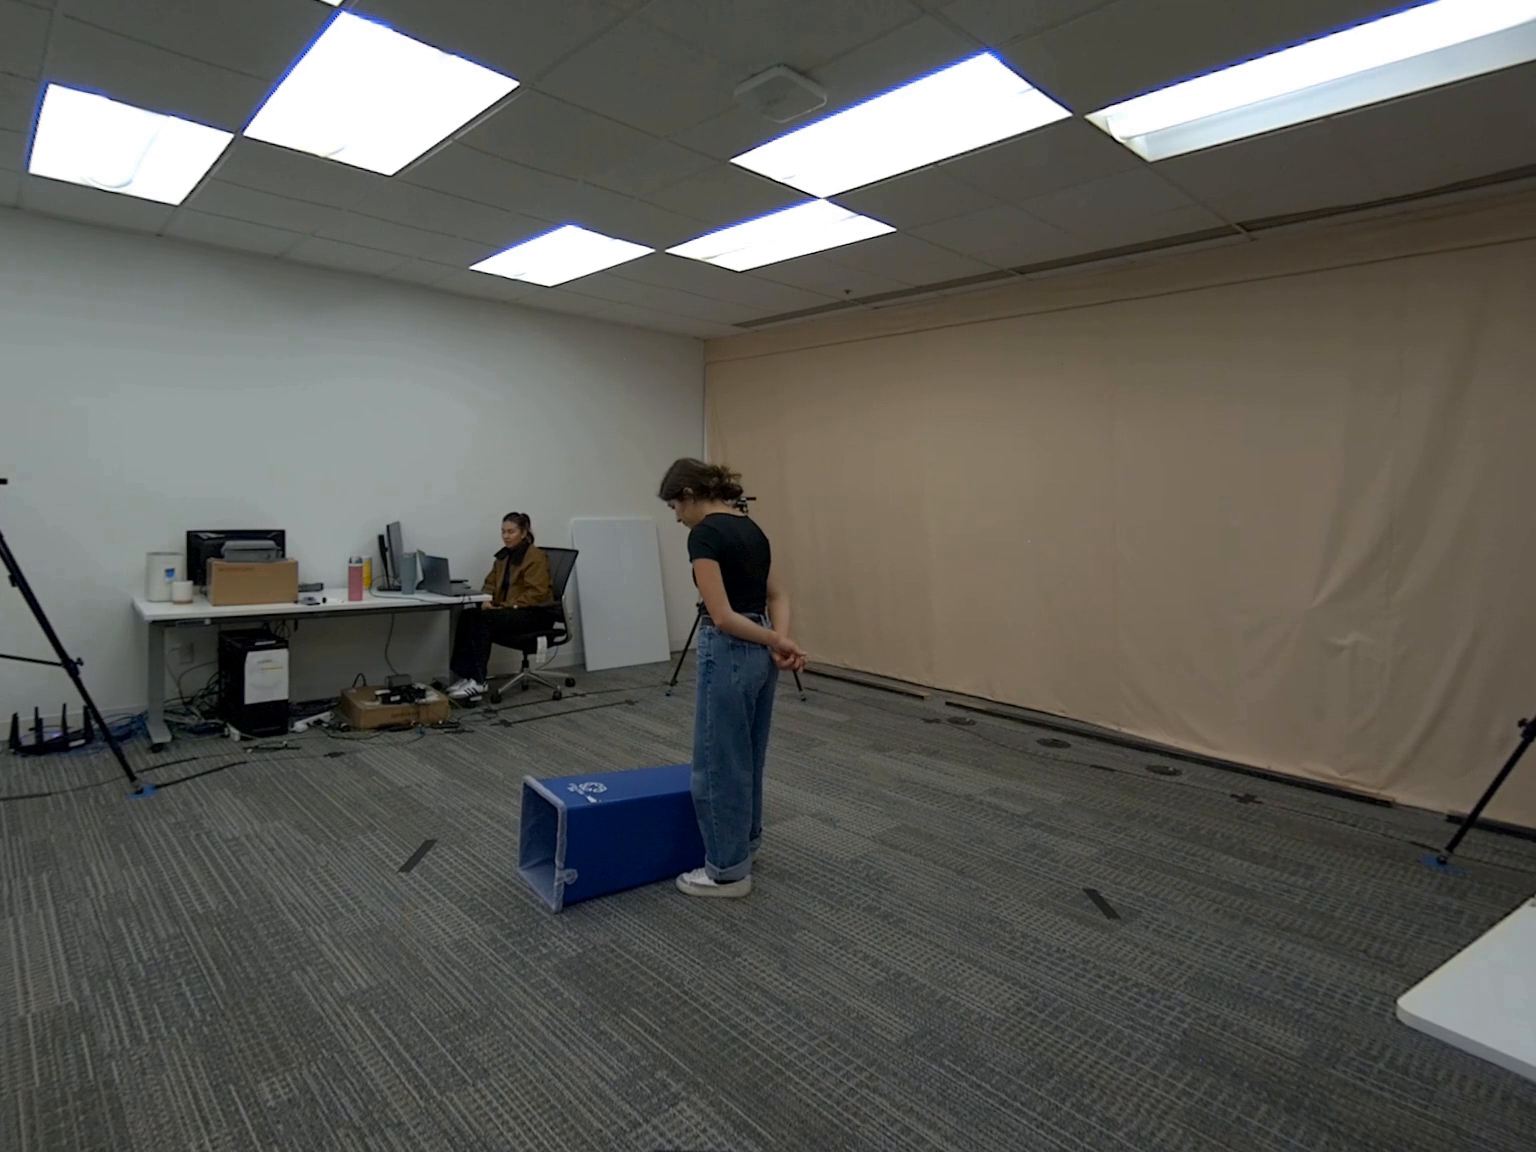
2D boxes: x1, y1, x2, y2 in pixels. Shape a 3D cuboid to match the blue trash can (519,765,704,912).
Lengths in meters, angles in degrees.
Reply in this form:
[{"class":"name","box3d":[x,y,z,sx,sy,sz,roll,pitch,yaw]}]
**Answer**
[{"class":"blue trash can","box3d":[-0.526,0.926,3.124,0.697,0.377,0.383,1,3,-37]}]
